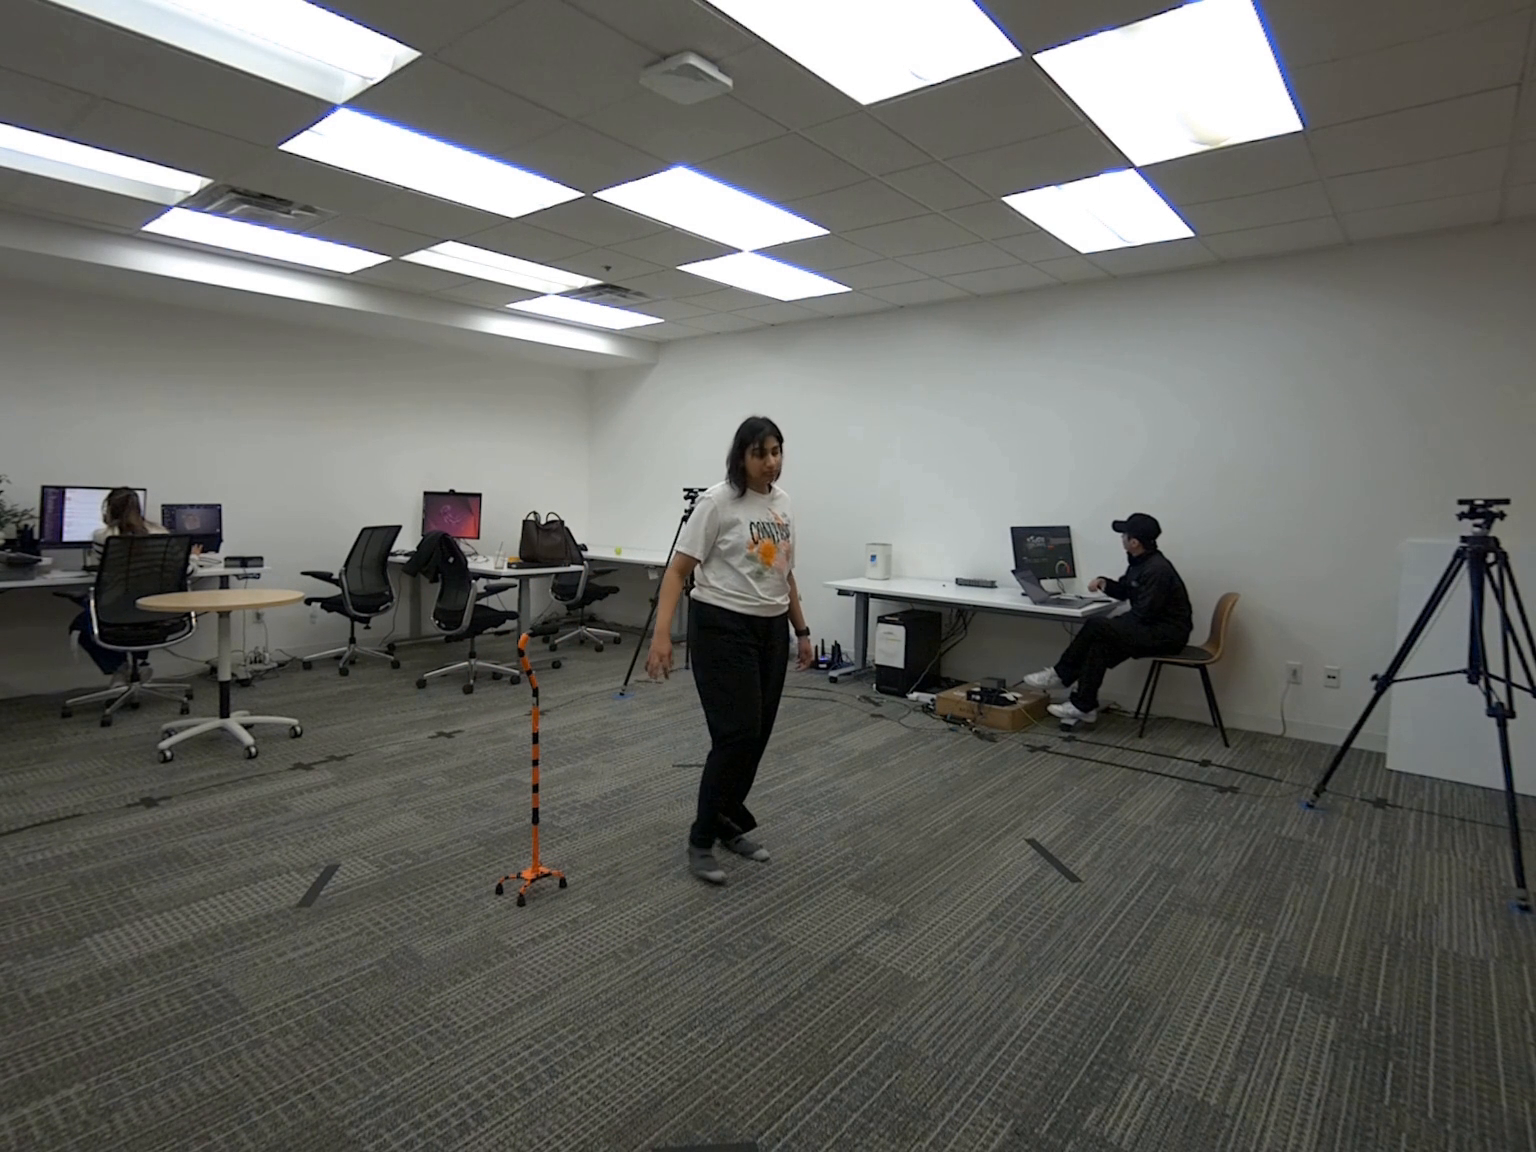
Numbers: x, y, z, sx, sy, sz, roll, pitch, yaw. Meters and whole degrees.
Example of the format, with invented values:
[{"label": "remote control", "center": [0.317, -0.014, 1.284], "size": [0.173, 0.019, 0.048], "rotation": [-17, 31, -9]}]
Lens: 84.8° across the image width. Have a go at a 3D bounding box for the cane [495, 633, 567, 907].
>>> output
[{"label": "cane", "center": [-0.812, 0.623, 2.902], "size": [0.156, 0.905, 0.200], "rotation": [4, 4, 38]}]
